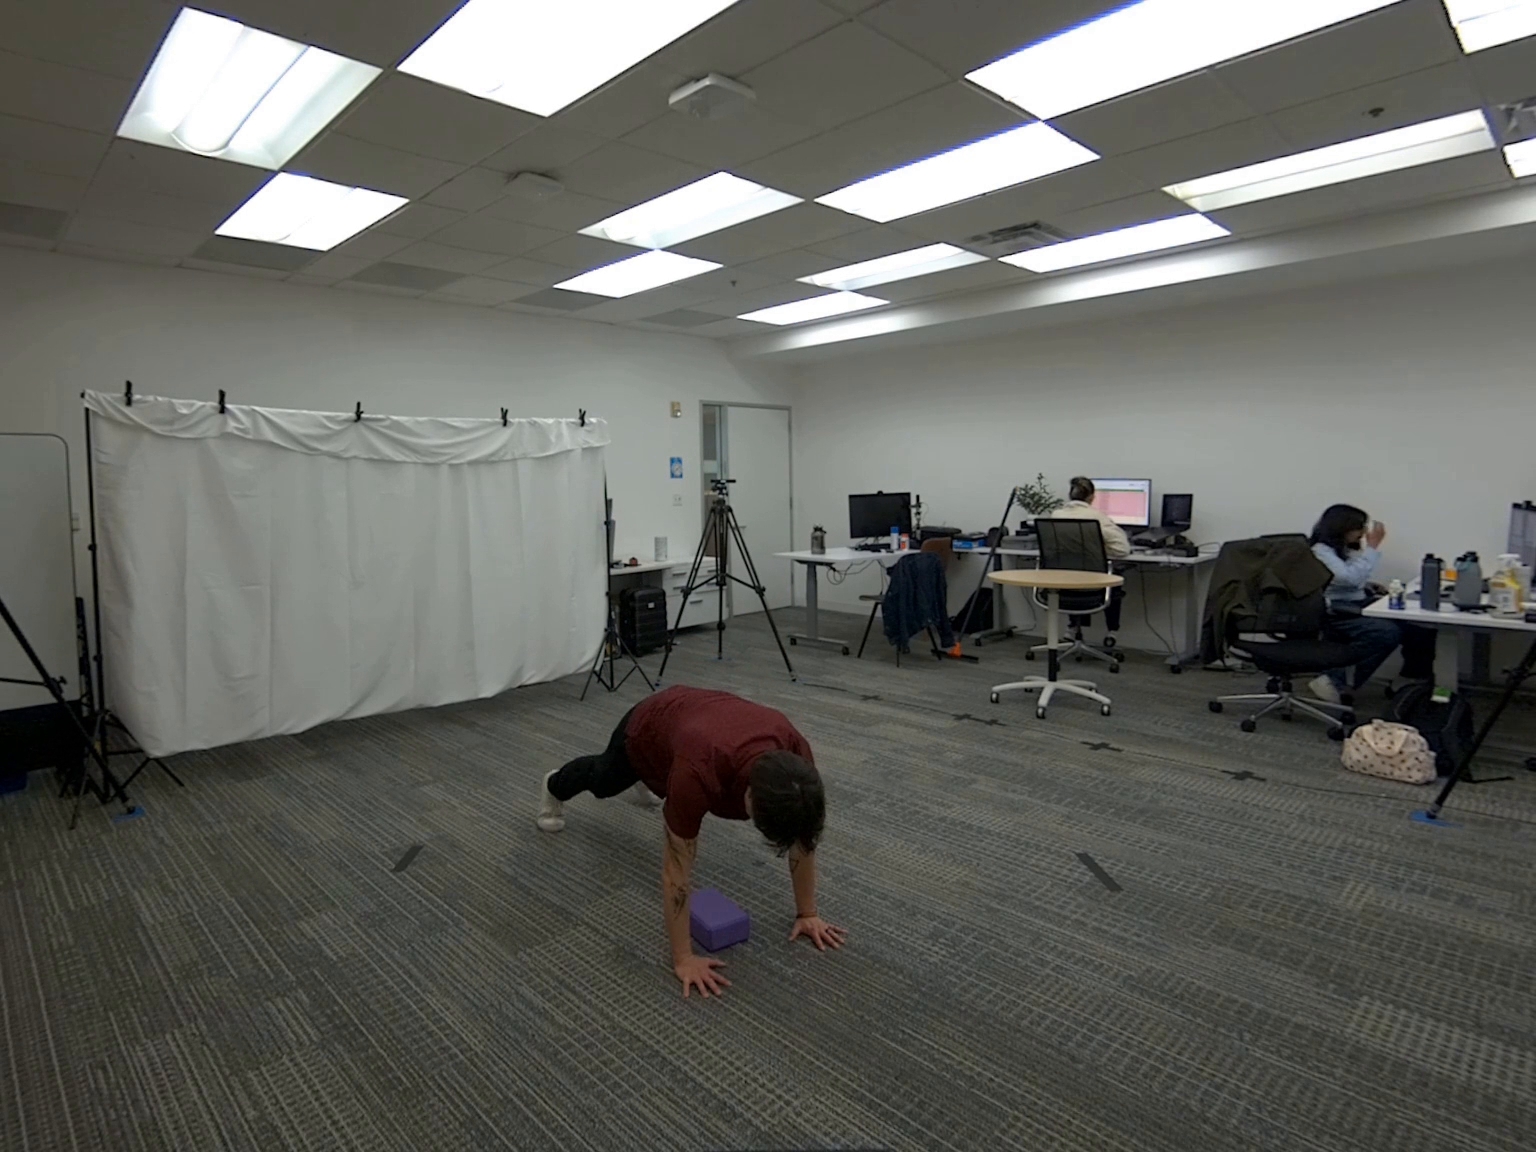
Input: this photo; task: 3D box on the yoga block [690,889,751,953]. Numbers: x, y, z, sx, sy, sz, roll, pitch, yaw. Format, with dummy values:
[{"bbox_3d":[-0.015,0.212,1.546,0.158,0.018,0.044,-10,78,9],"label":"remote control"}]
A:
[{"bbox_3d":[-0.172,1.061,2.651,0.145,0.076,0.236,-5,8,-33],"label":"yoga block"}]
